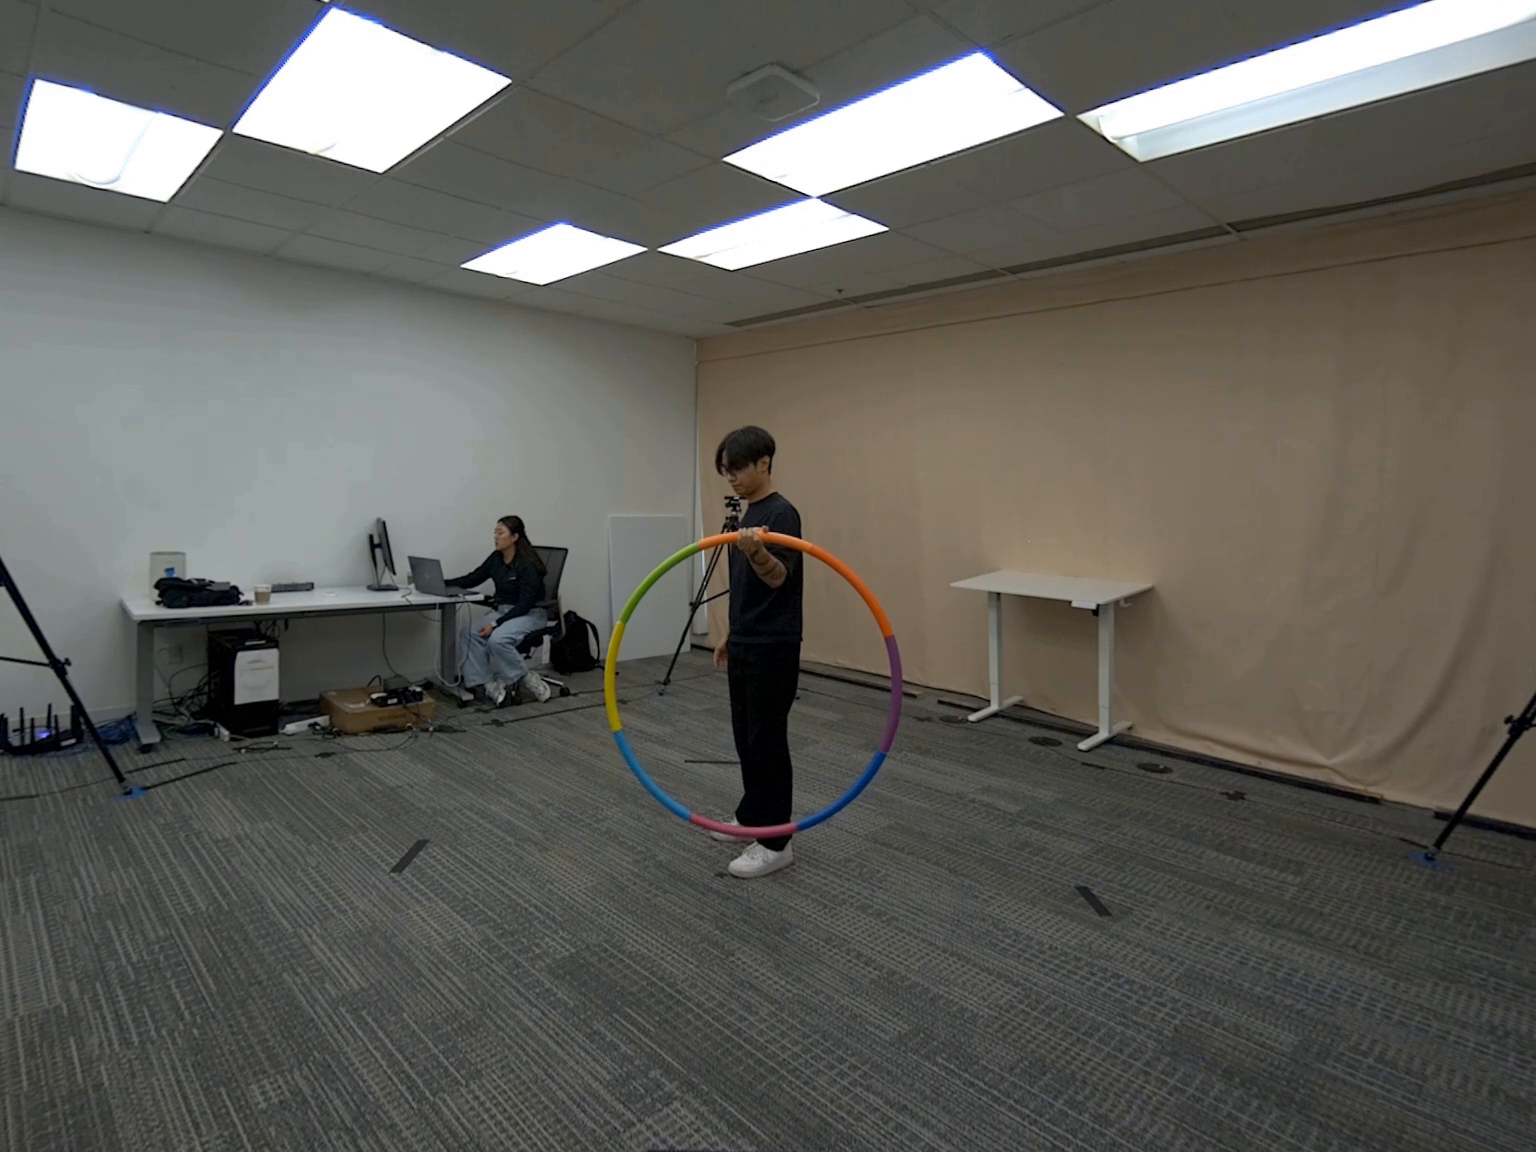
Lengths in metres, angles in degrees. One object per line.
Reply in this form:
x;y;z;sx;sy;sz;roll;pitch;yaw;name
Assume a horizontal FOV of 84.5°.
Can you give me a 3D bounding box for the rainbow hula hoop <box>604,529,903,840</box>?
-0.070;0.349;2.743;0.987;0.978;0.035;2;0;11;rainbow hula hoop
